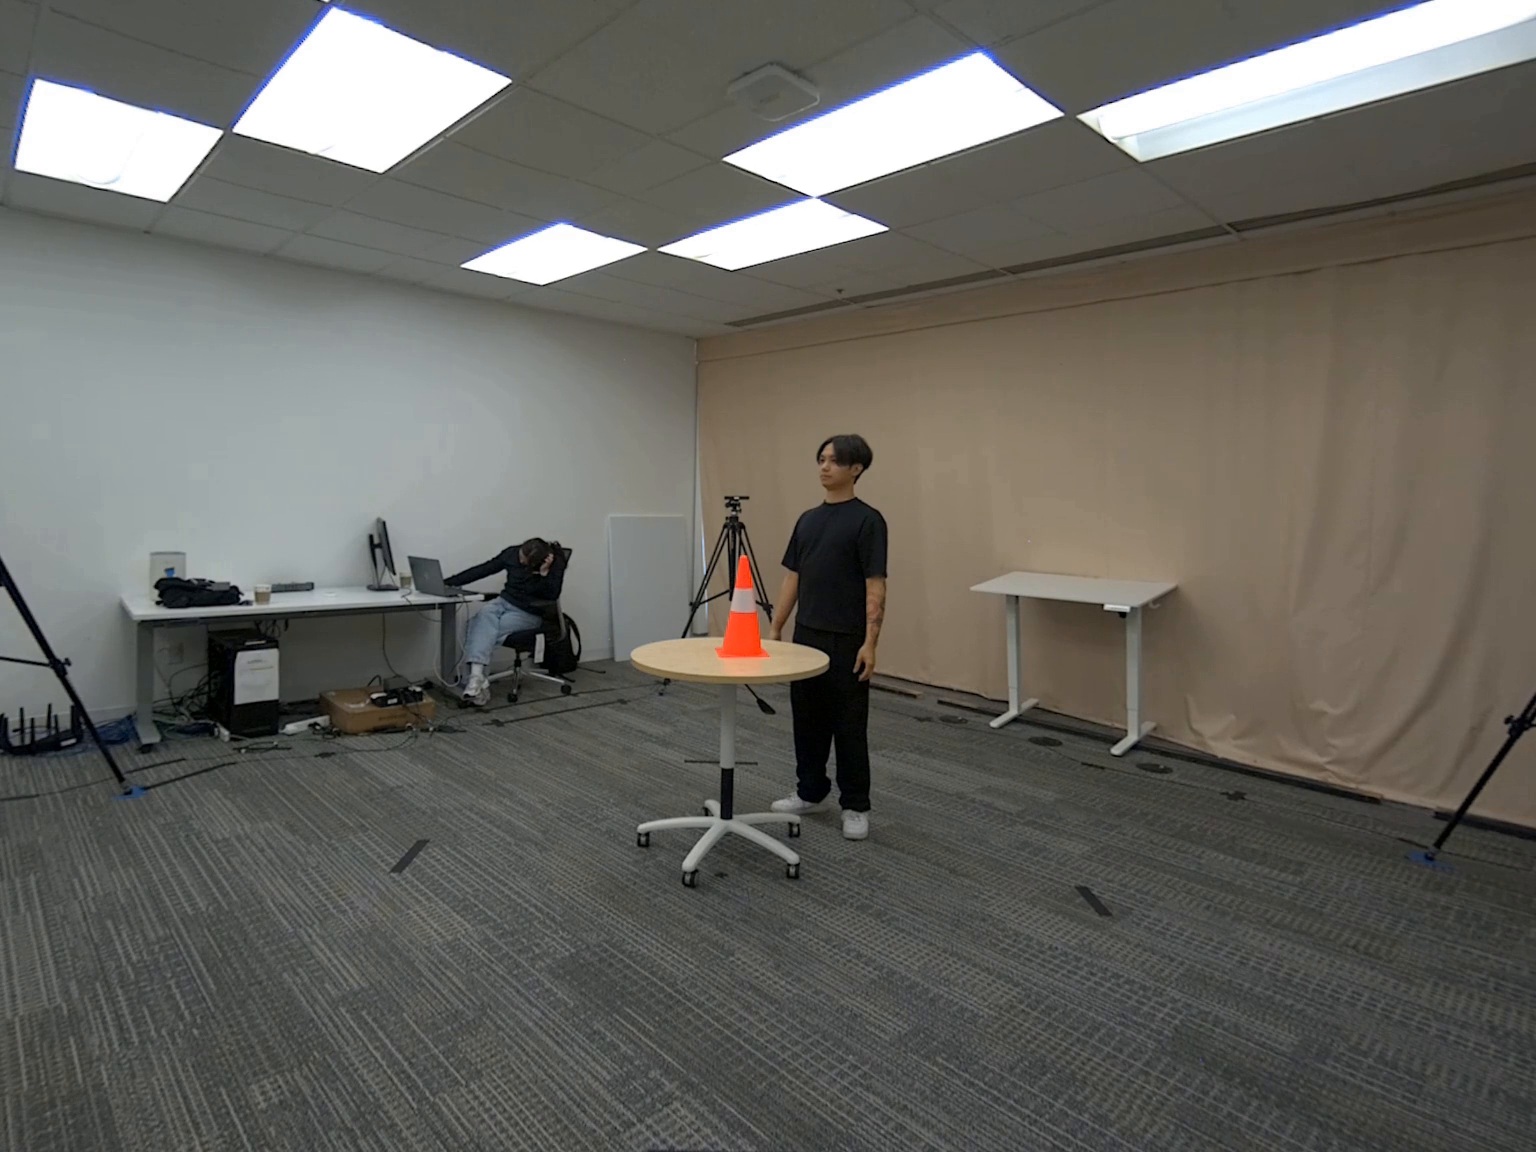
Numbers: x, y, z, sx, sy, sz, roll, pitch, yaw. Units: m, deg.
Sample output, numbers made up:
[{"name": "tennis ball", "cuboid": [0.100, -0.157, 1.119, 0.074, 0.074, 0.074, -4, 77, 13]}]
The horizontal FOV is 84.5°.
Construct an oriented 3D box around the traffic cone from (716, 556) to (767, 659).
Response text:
[{"name": "traffic cone", "cuboid": [-0.101, 0.116, 3.284, 0.202, 0.382, 0.207, 1, 5, -9]}]
